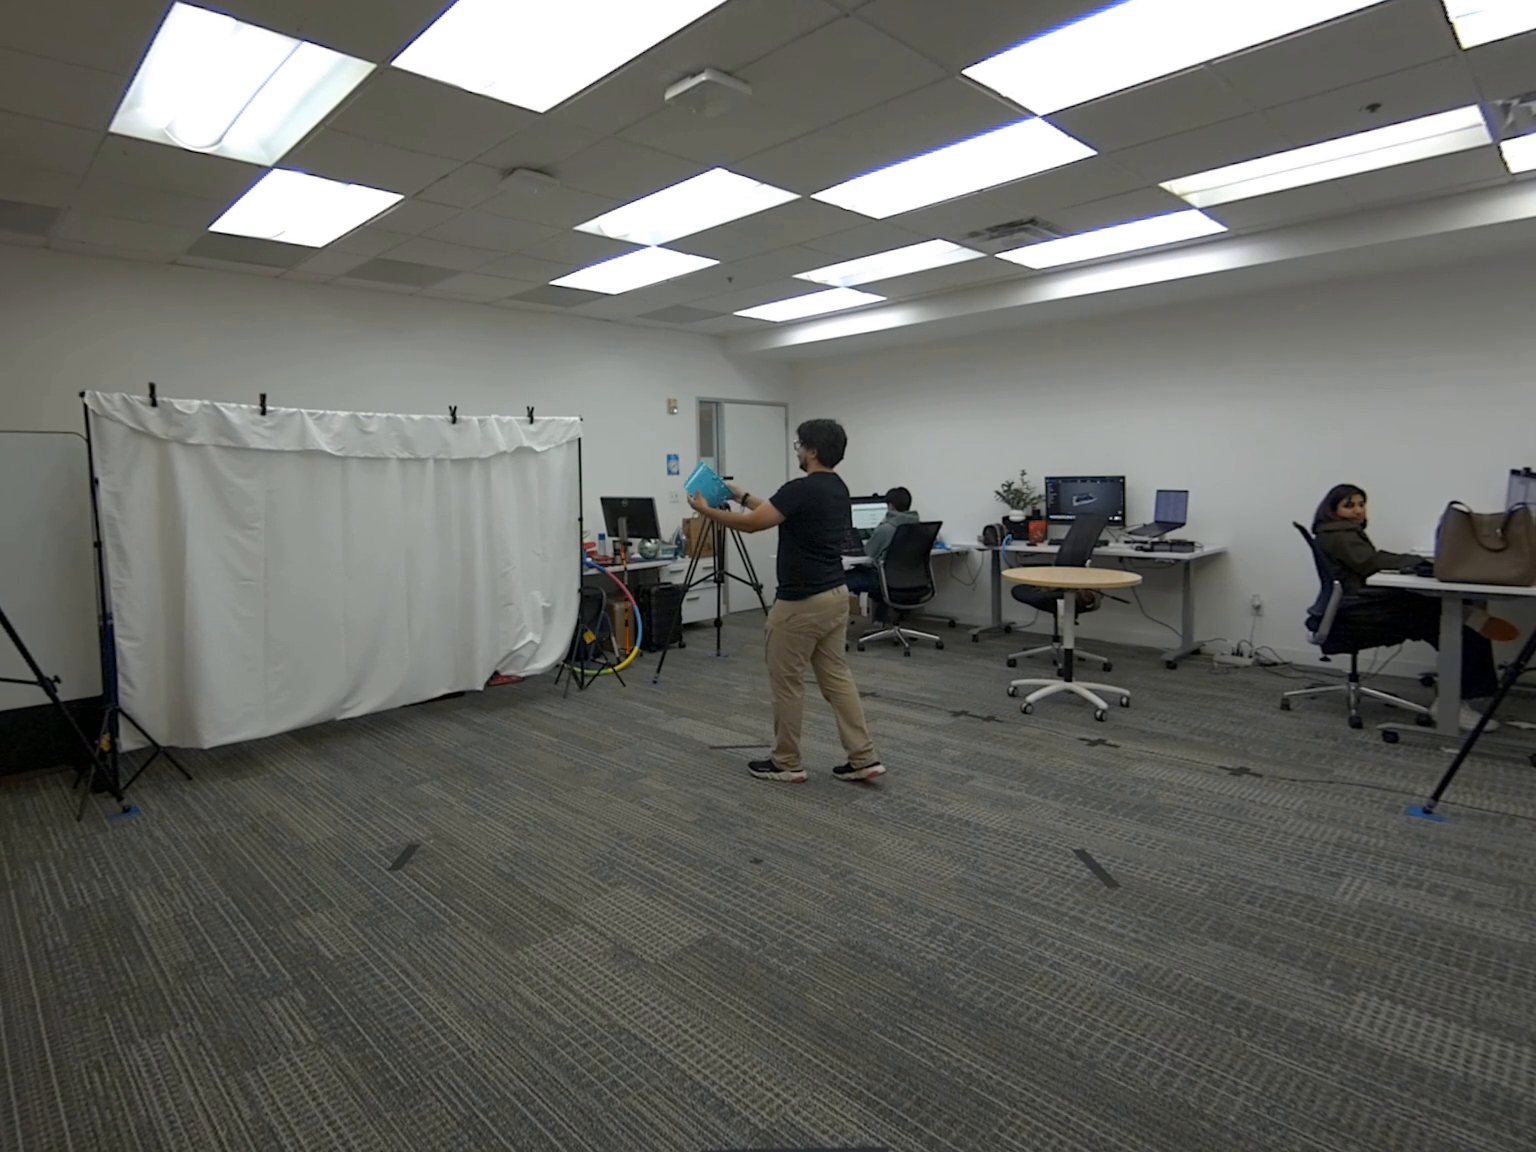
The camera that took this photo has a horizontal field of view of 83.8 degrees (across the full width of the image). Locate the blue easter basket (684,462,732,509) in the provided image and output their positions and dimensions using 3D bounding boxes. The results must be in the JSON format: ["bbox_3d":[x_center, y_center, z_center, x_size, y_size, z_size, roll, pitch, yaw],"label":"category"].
[{"bbox_3d":[-0.290,-0.426,4.137,0.156,0.242,0.245,-46,7,4],"label":"blue easter basket"}]
